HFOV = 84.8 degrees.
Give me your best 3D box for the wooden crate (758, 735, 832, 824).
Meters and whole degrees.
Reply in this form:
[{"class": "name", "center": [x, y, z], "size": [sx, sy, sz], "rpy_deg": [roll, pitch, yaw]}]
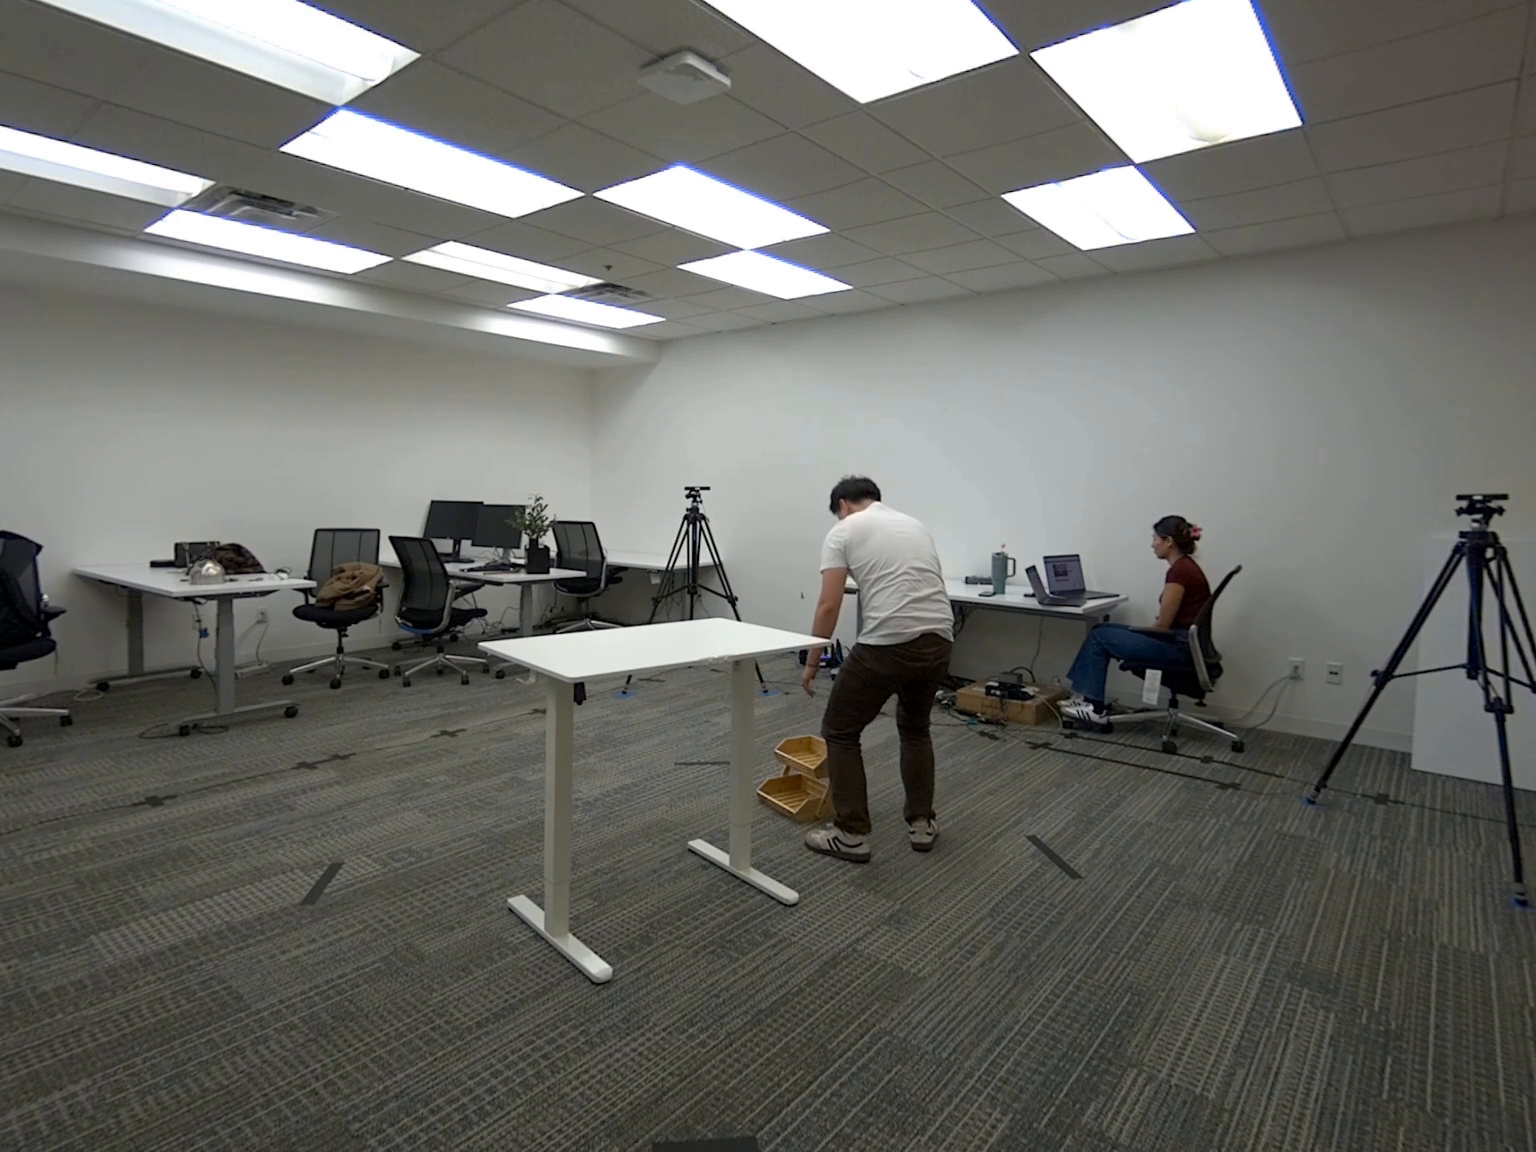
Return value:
[{"class": "wooden crate", "center": [0.146, 0.873, 3.733], "size": [0.293, 0.272, 0.335], "rpy_deg": [-1, 6, -33]}]
